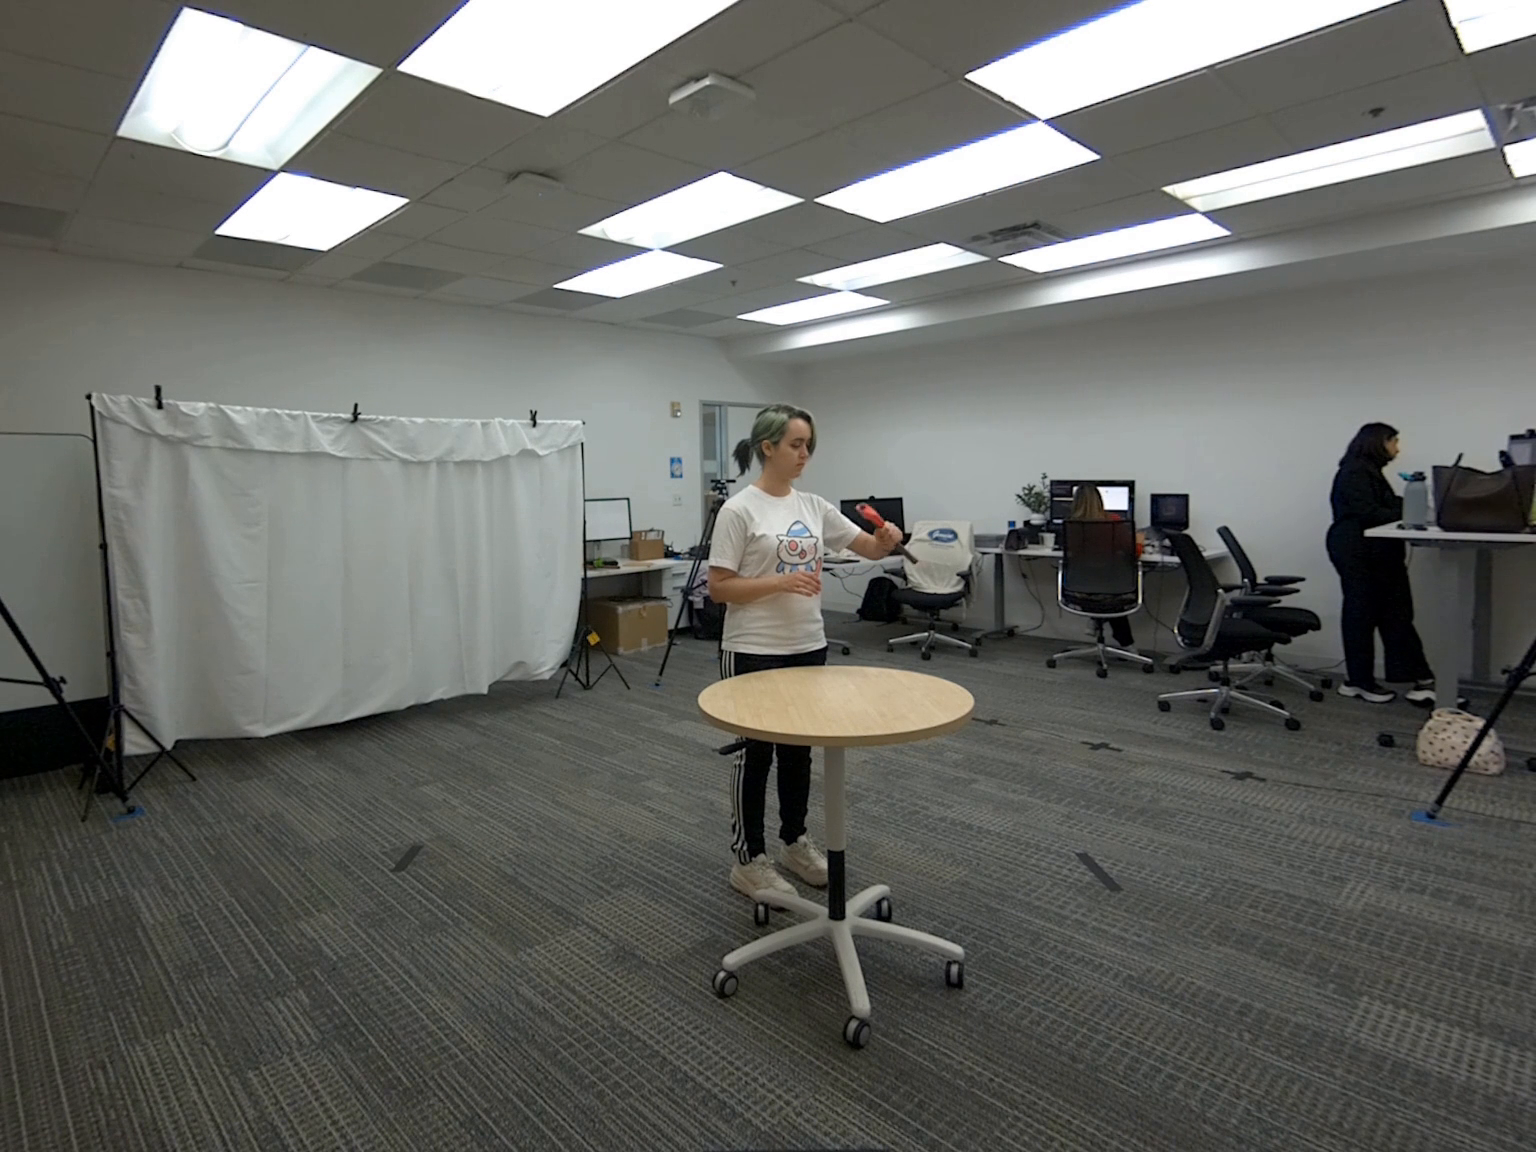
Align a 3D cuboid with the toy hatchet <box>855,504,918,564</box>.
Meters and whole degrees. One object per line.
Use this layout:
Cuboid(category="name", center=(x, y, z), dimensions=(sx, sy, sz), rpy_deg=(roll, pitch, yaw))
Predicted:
Cuboid(category="toy hatchet", center=(0.395, -0.132, 2.678), dimensions=(0.269, 0.029, 0.131), rpy_deg=(38, -1, -3))
